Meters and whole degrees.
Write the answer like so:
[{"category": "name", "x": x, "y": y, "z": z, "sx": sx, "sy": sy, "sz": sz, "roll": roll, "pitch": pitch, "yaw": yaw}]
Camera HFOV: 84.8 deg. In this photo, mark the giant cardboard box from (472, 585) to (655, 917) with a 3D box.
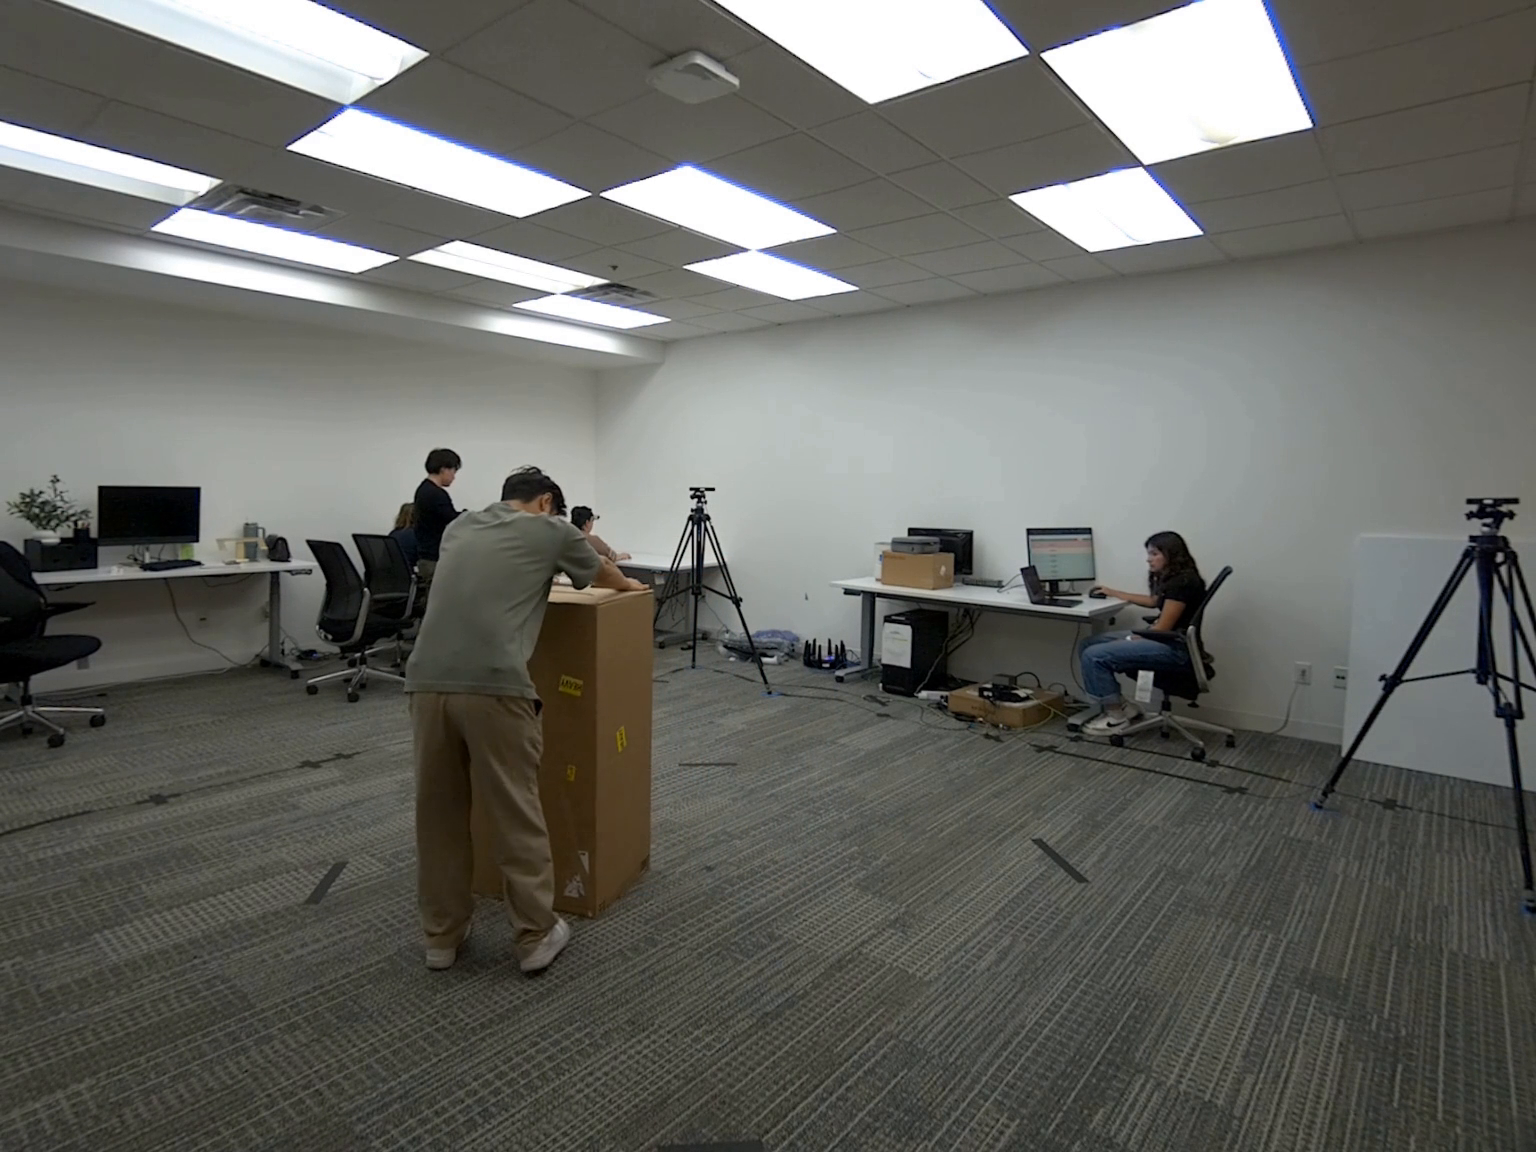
[{"category": "giant cardboard box", "x": -0.762, "y": 0.560, "z": 2.987, "sx": 0.590, "sy": 1.022, "sz": 0.418, "roll": 3, "pitch": 4, "yaw": 20}]
